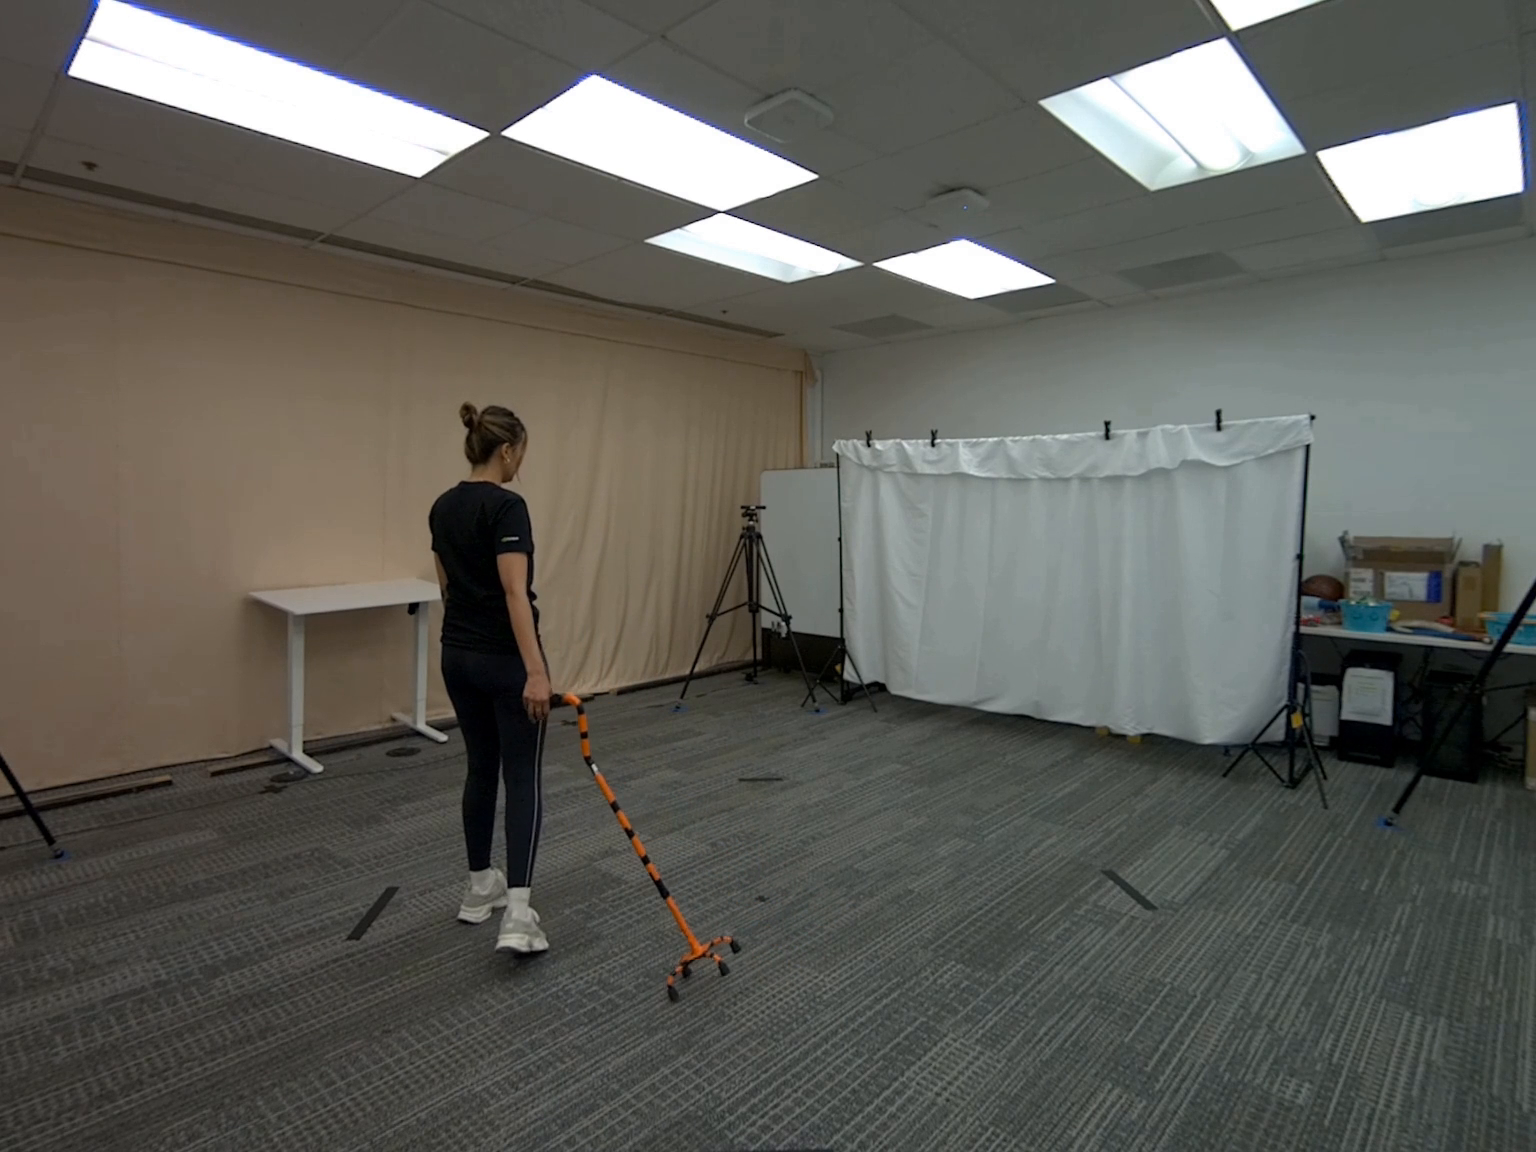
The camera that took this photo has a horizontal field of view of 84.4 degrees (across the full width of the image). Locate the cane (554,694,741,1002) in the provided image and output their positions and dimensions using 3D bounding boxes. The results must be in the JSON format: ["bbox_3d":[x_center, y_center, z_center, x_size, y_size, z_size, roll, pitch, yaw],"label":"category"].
[{"bbox_3d":[-0.403,0.749,2.451,0.208,0.913,0.149,-32,-5,15],"label":"cane"}]
